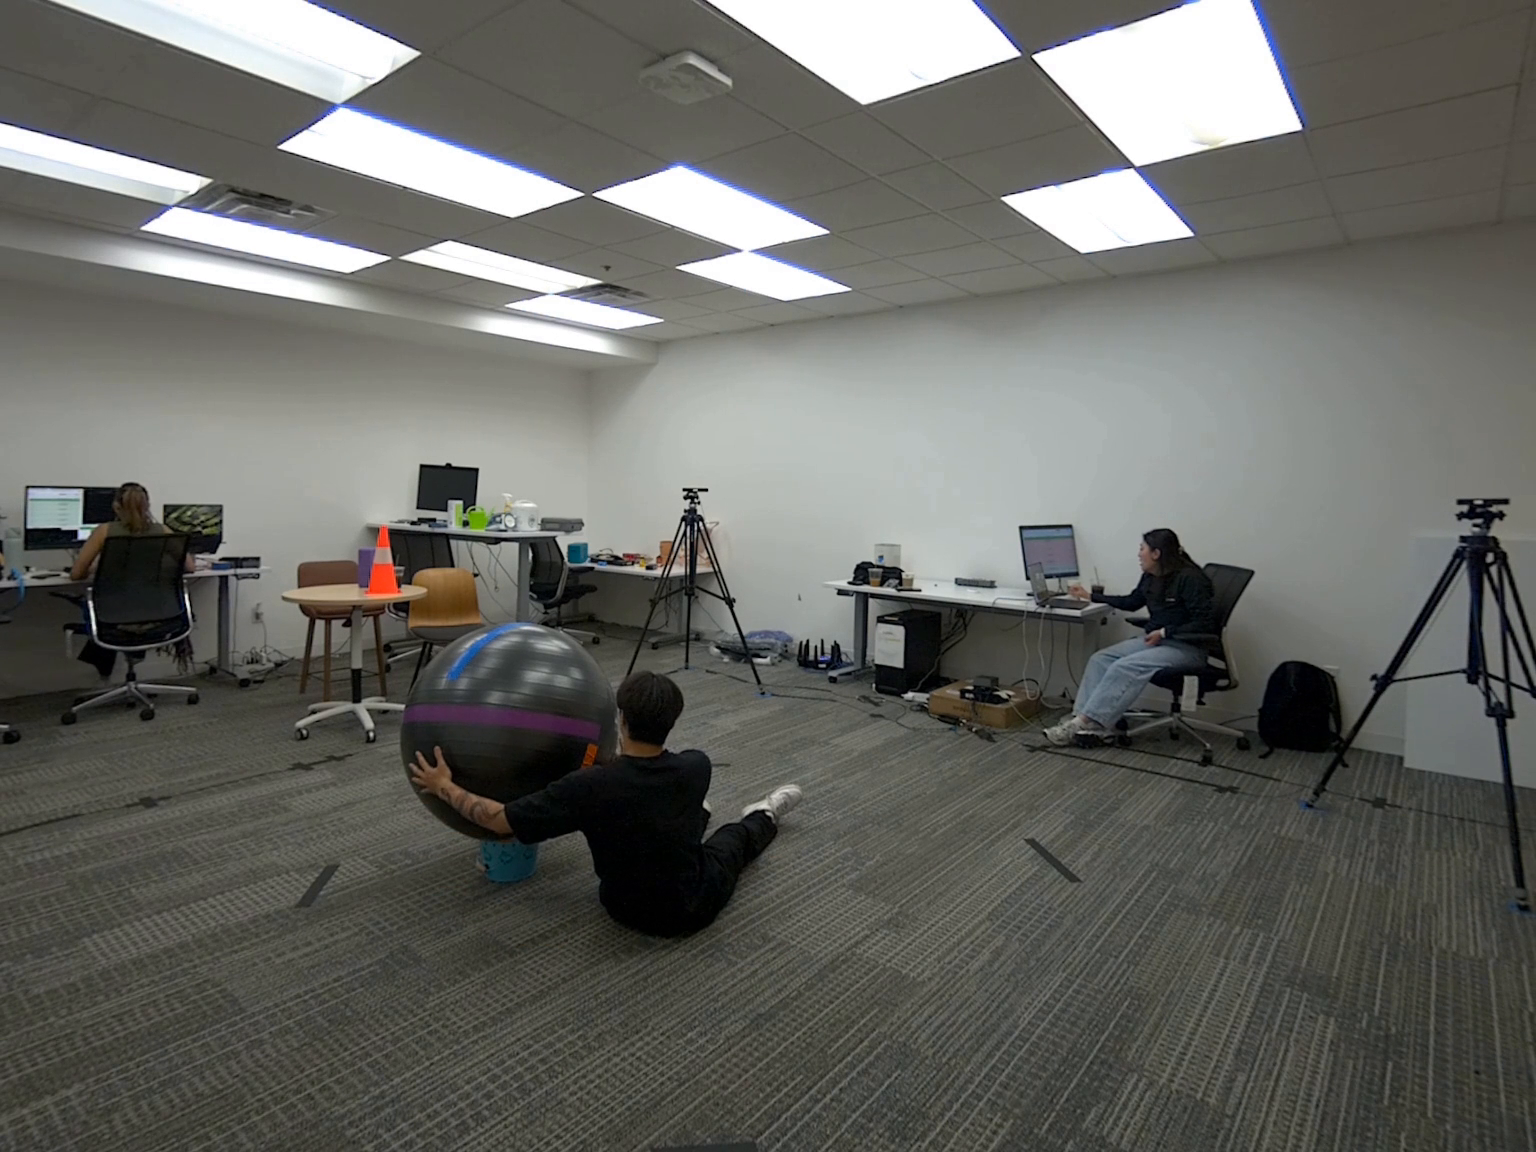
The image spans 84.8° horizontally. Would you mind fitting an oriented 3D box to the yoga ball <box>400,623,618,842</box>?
[{"bbox_3d":[-0.944,0.561,3.053,0.757,0.755,0.762,1,4,-2],"label":"yoga ball"}]
